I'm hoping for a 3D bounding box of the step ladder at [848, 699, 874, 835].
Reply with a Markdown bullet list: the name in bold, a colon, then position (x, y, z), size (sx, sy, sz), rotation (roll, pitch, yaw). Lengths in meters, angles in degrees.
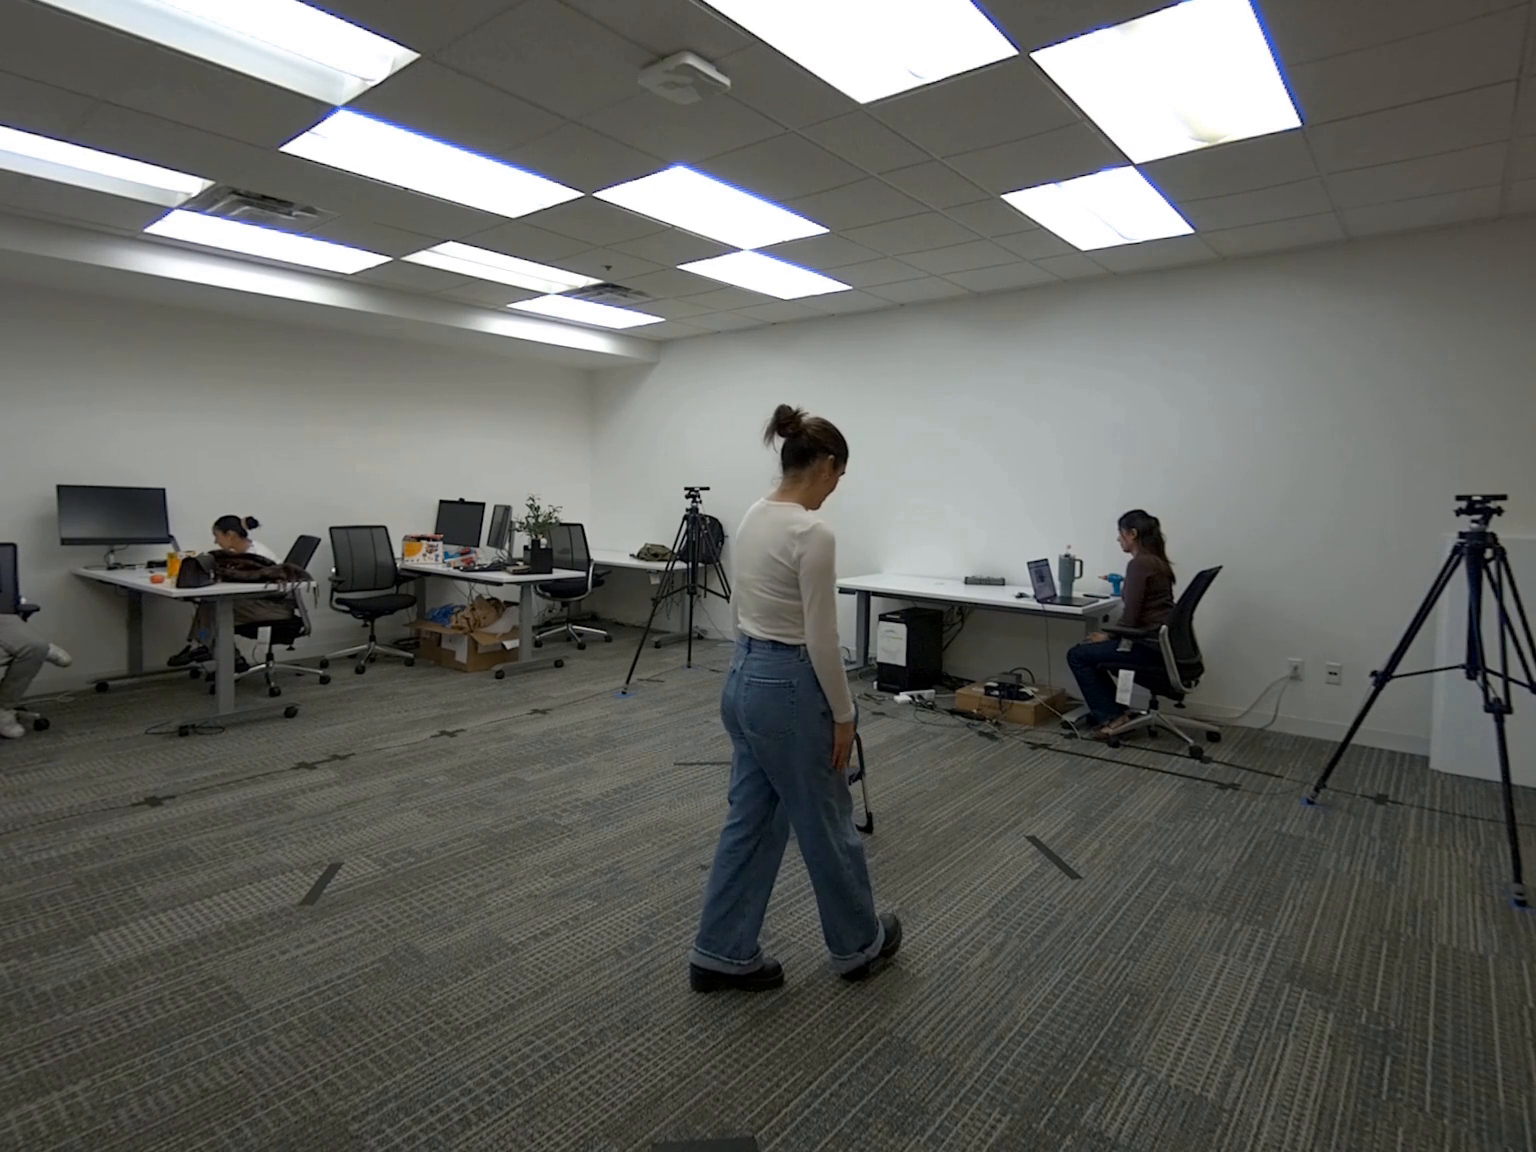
- **step ladder**: position (0.165, 0.729, 3.459), size (0.445, 0.604, 0.339), rotation (4, 4, 40)
